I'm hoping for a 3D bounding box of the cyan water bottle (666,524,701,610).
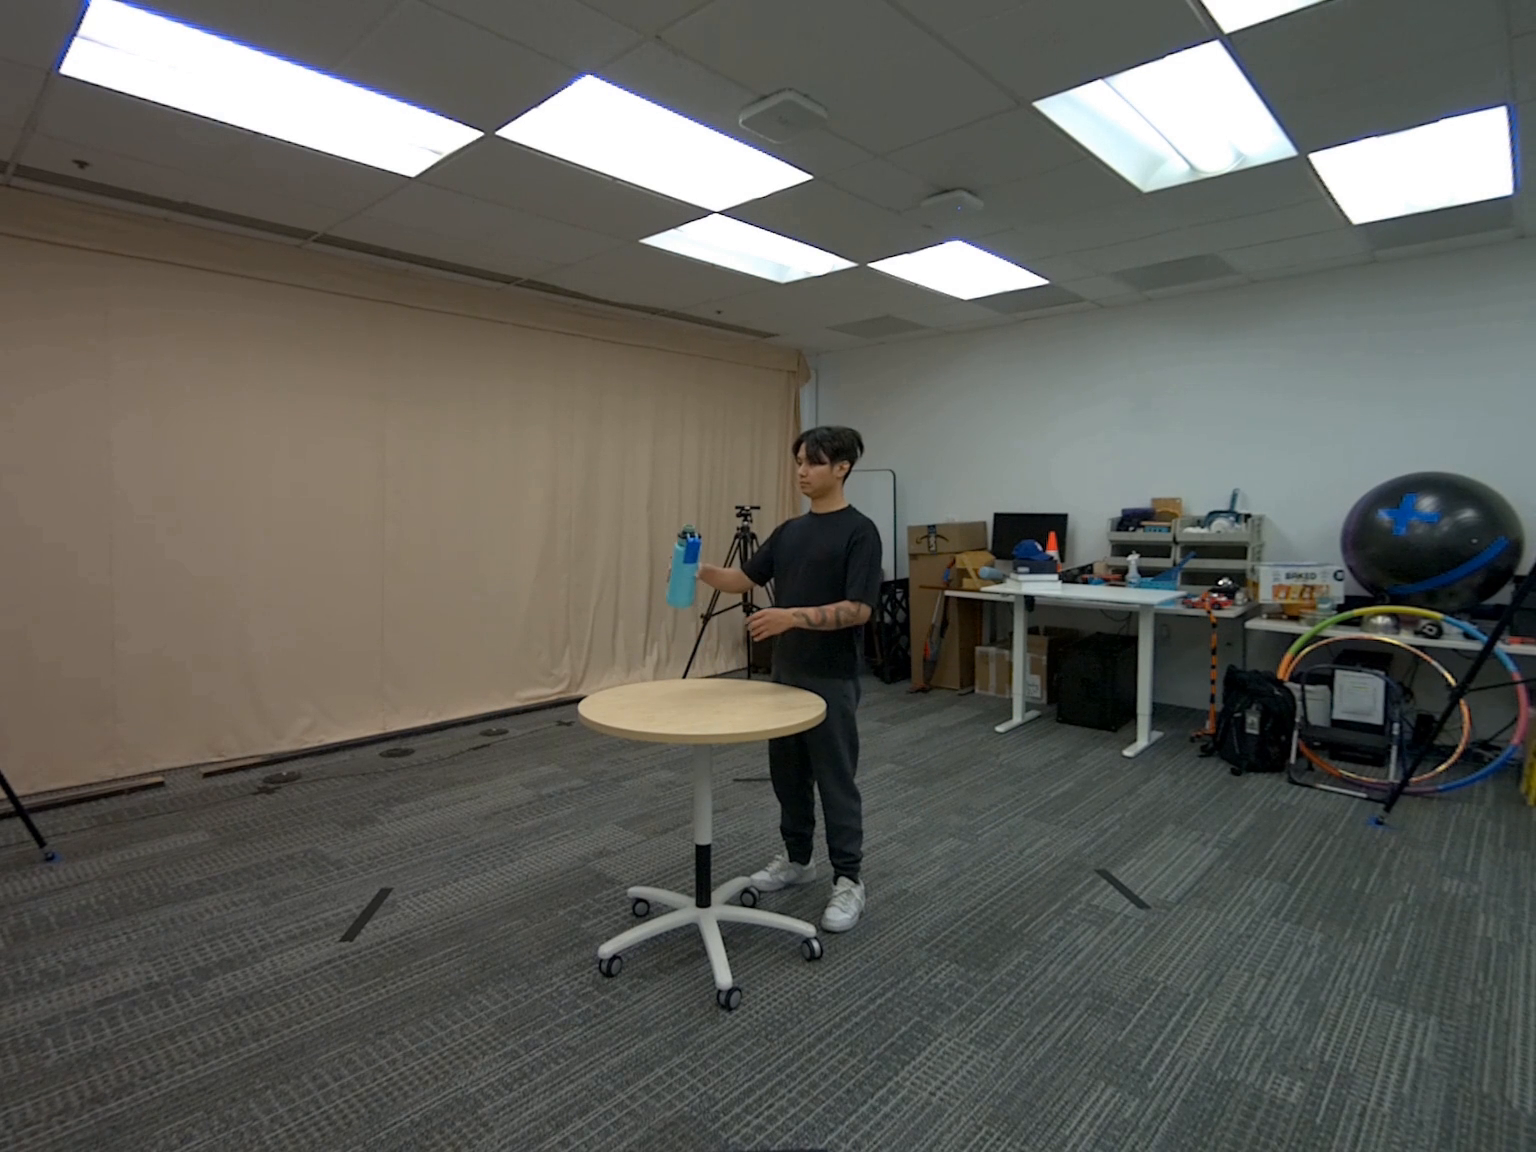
[{"bbox_3d":[-0.267,-0.025,2.787,0.092,0.280,0.094,8,25,-6],"label":"cyan water bottle"}]
